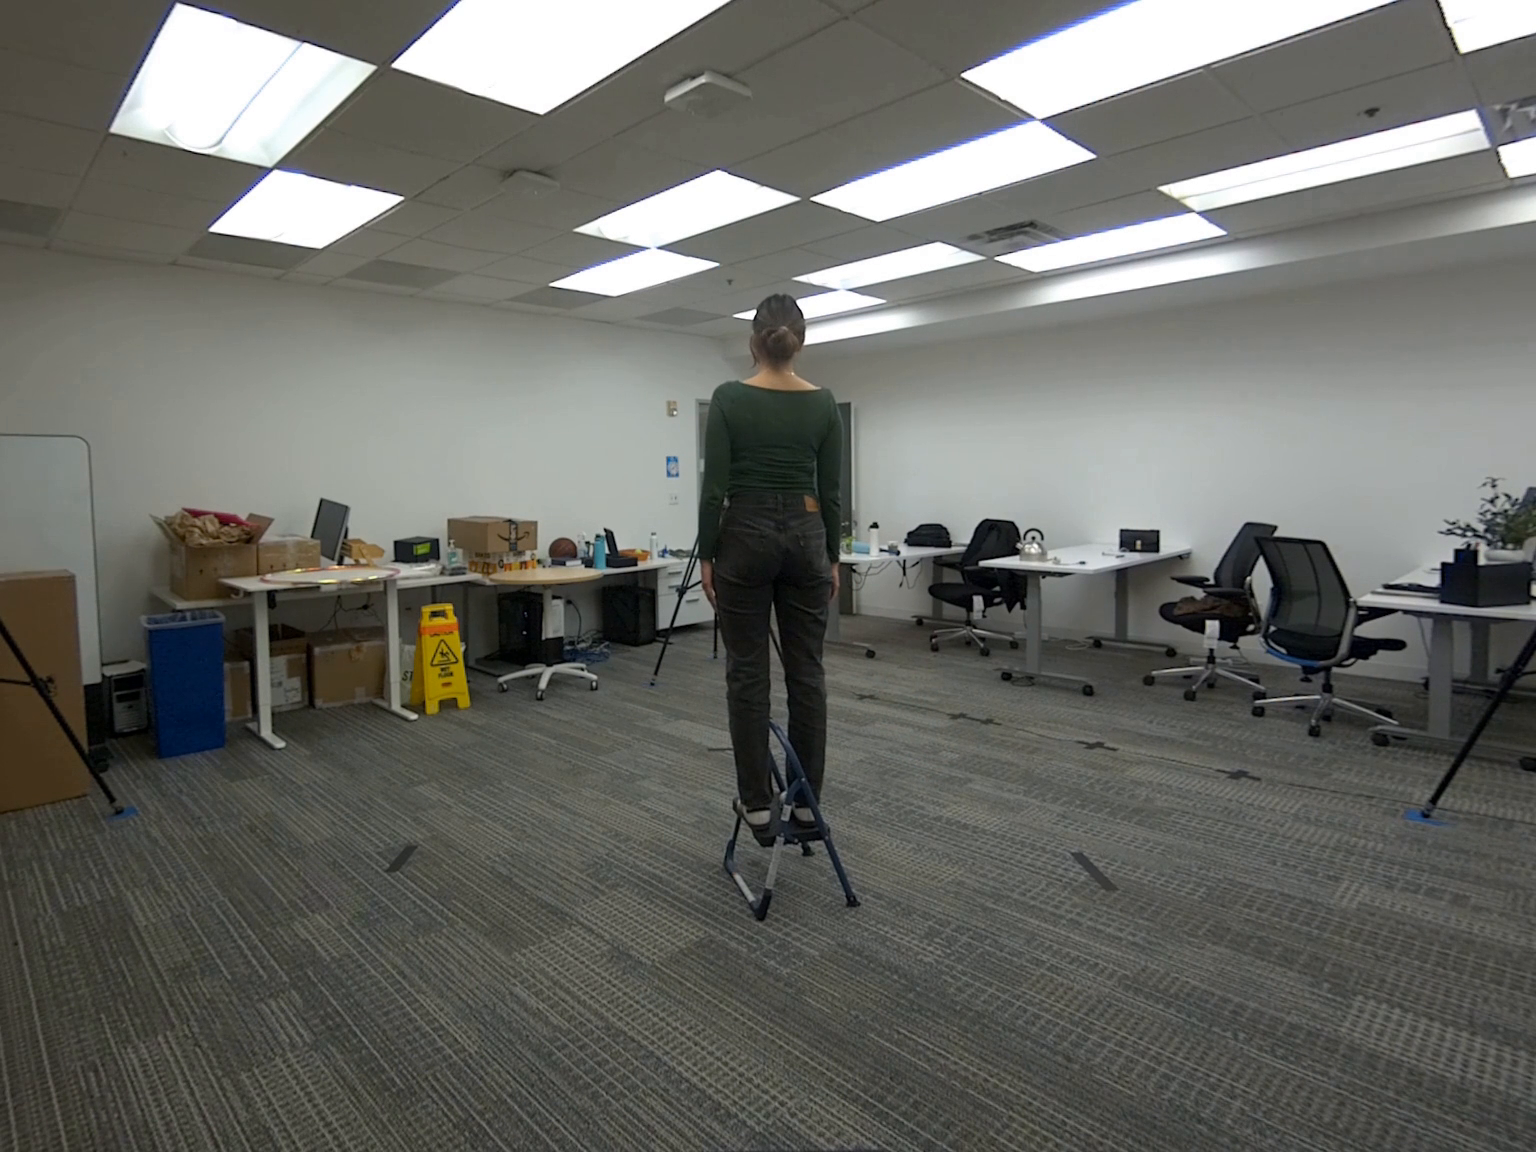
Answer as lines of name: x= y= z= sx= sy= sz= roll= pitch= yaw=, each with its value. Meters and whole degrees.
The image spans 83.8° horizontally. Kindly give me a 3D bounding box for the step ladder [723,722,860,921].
step ladder: x=0.061 y=0.761 z=2.925 sx=0.344 sy=0.604 sz=0.439 roll=-3 pitch=4 yaw=-18
